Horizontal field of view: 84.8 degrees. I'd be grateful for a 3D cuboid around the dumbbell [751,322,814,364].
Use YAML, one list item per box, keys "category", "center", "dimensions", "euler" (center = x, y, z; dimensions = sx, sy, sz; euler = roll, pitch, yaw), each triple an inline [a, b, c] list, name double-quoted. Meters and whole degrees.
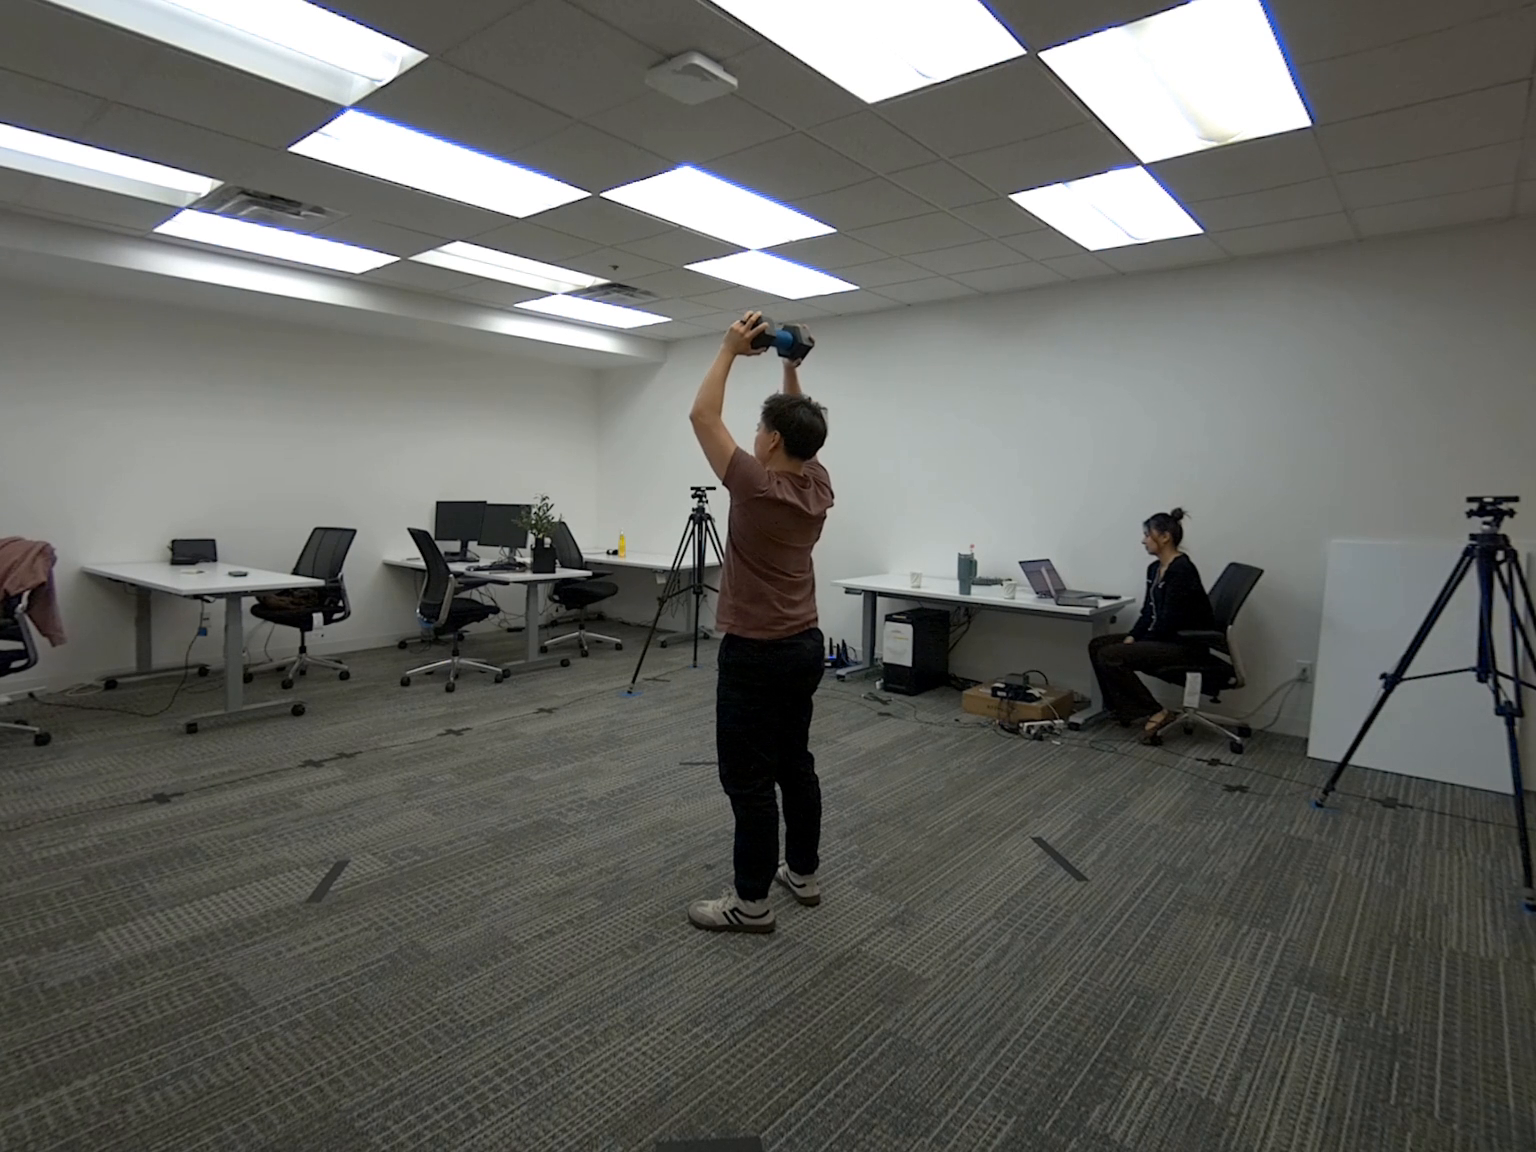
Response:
- category: "dumbbell"
  center: [0.011, -0.772, 2.773]
  dimensions: [0.285, 0.112, 0.123]
  euler: [-5, -37, -52]
